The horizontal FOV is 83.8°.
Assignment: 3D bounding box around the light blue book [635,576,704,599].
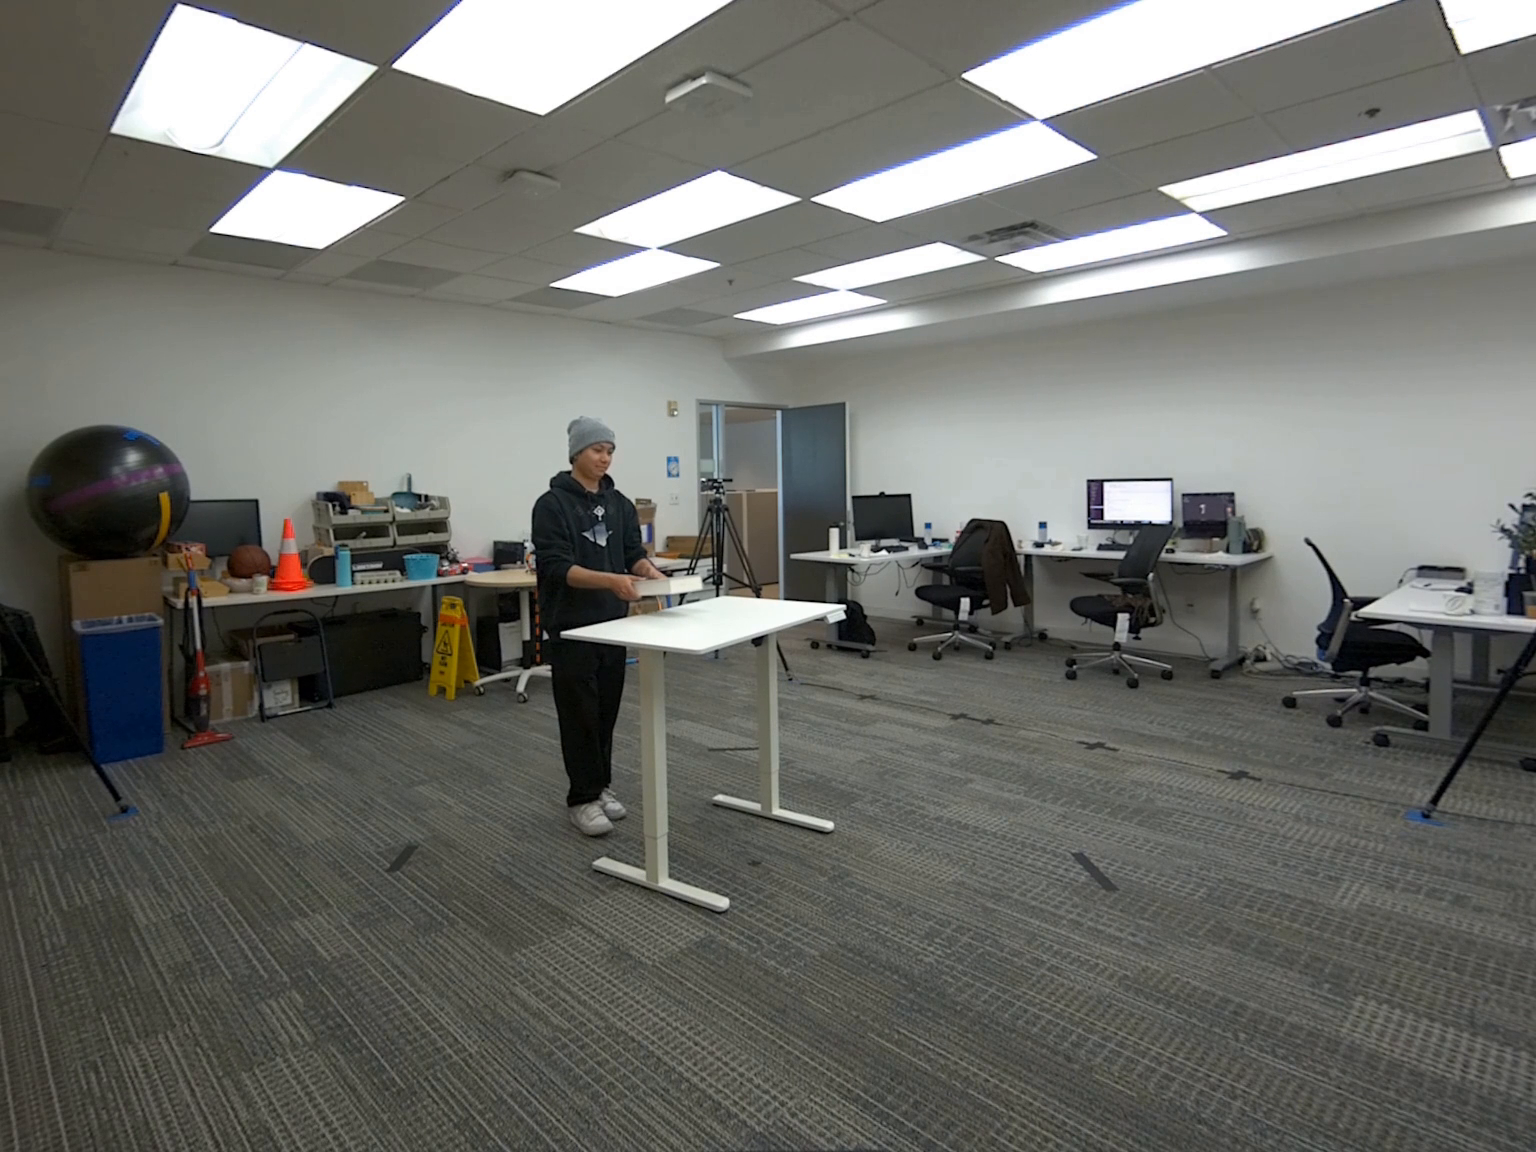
[{"bbox_3d":[-0.400,0.044,3.305,0.266,0.059,0.187,-6,0,28],"label":"light blue book"}]
